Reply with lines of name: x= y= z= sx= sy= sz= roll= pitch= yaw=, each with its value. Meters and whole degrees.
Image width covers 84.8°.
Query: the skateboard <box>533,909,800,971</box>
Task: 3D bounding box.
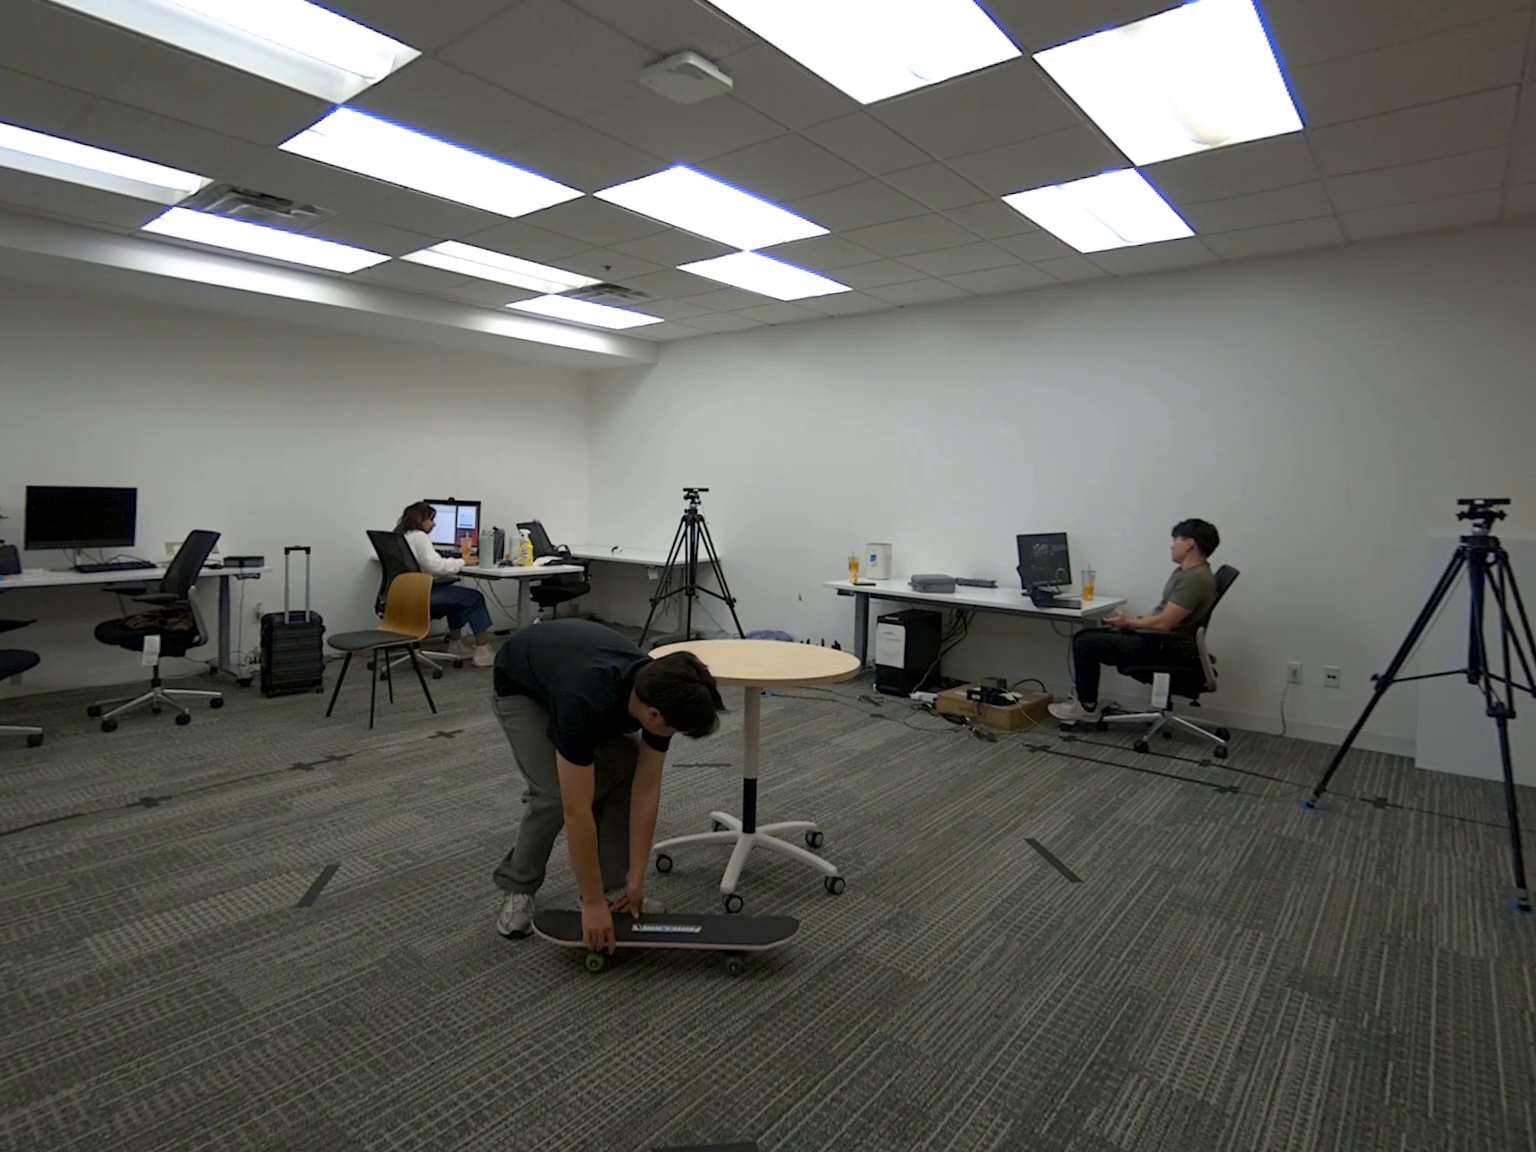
skateboard: x=-0.307 y=1.068 z=2.504 sx=0.786 sy=0.110 sz=0.194 roll=1 pitch=4 yaw=0
